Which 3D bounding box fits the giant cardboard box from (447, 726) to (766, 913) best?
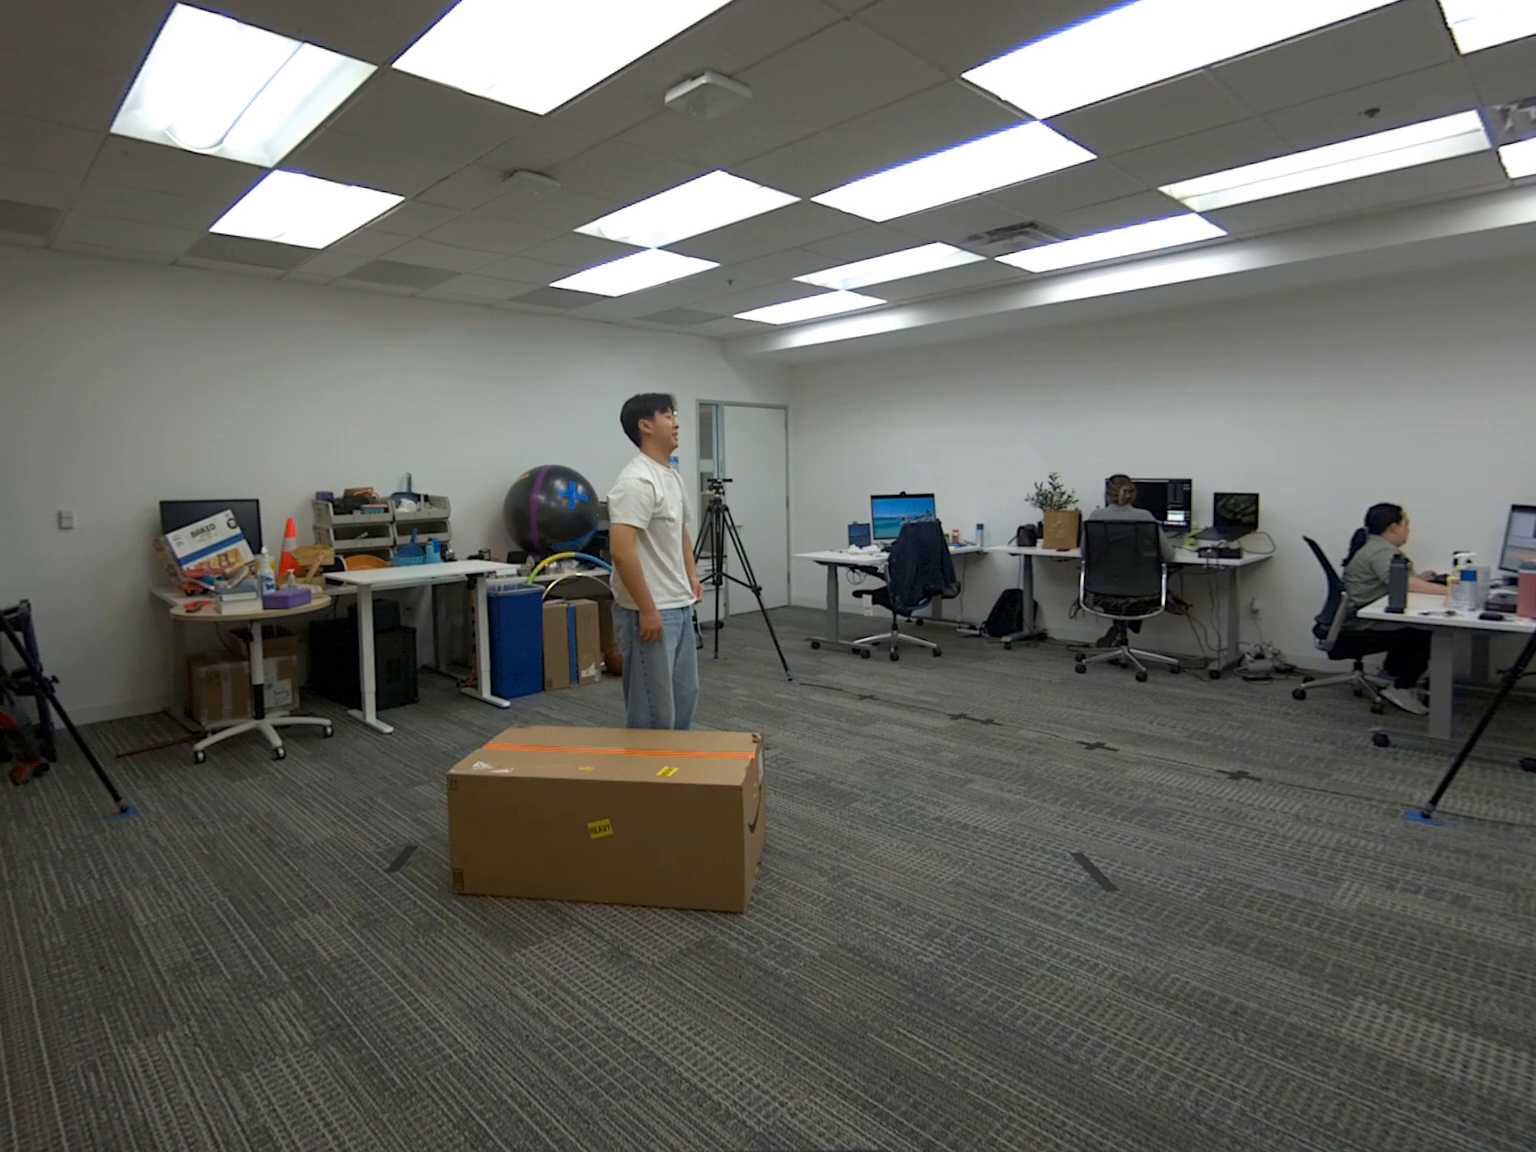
[{"bbox_3d":[-0.554,0.838,3.100,1.035,0.424,0.575,0,6,9],"label":"giant cardboard box"}]
